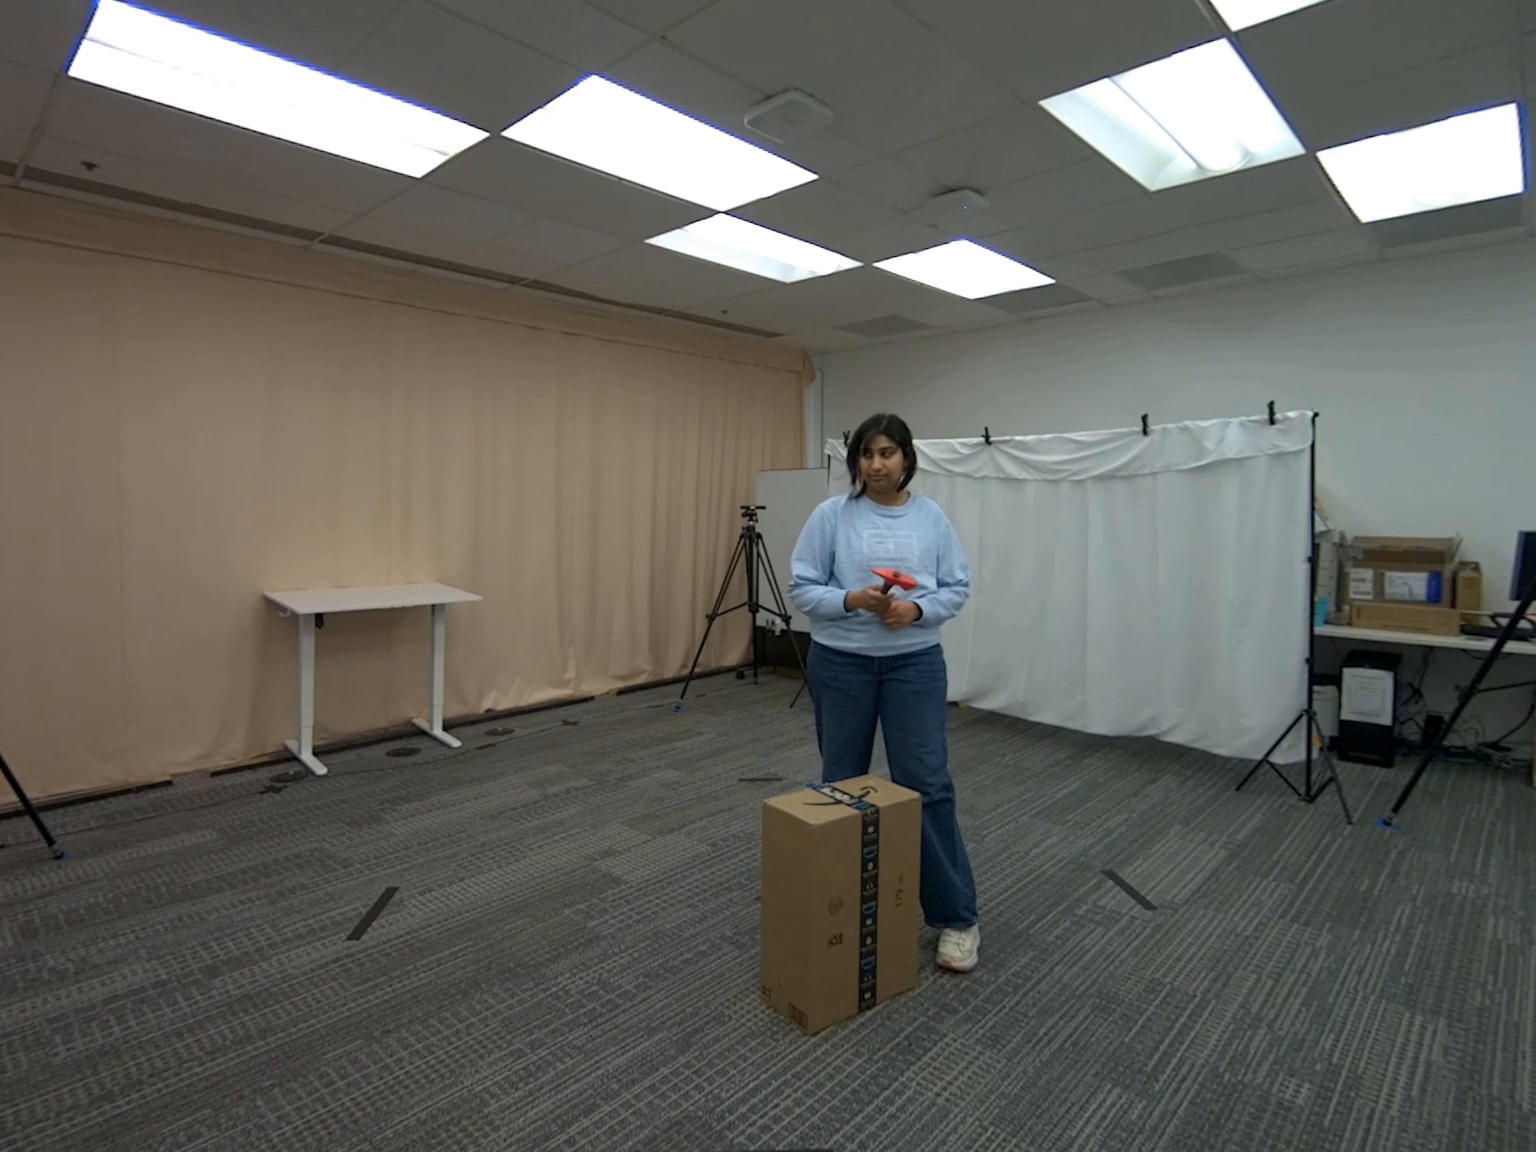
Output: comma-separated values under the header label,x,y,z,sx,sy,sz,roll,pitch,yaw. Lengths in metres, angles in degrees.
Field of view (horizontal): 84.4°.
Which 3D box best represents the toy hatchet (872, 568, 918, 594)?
label,x,y,z,sx,sy,sz,roll,pitch,yaw
toy hatchet,0.386,0.045,2.473,0.134,0.030,0.262,13,-19,22
